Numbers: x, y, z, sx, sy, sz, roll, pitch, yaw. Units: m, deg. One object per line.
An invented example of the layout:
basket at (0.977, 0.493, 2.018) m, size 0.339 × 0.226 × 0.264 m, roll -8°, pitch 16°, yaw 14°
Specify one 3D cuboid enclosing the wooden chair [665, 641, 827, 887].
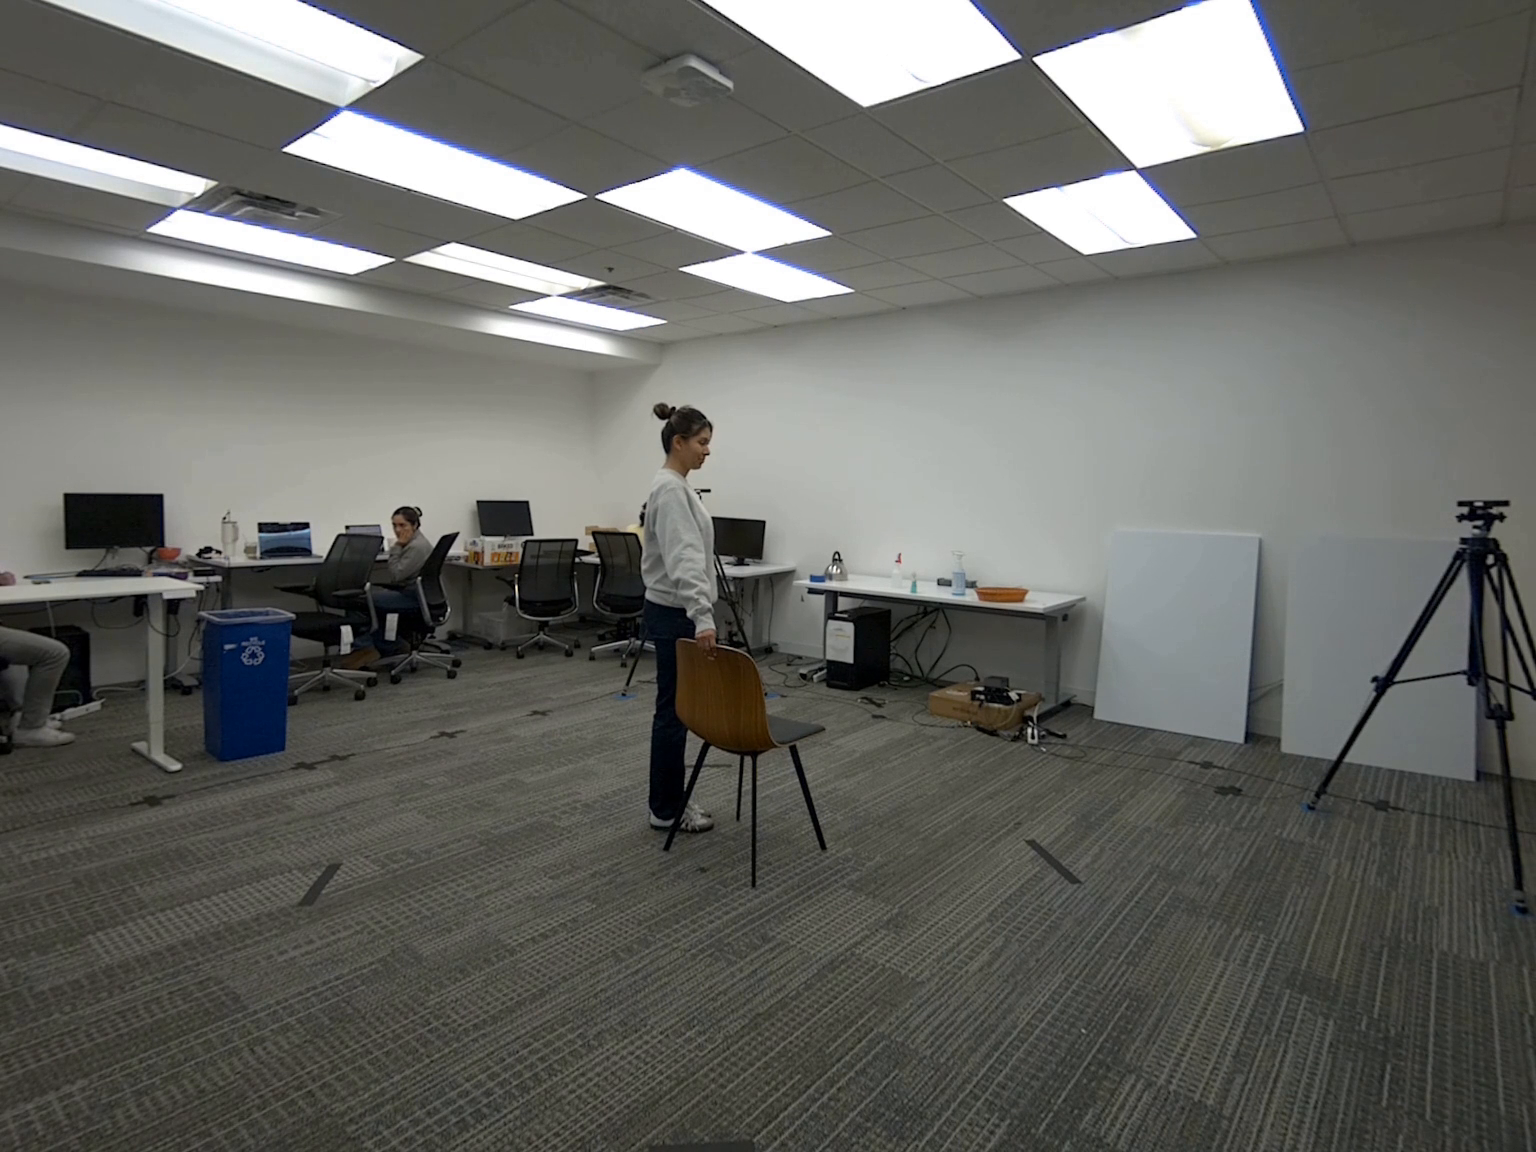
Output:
wooden chair at (-0.080, 0.635, 3.267) m, size 0.494 × 0.872 × 0.509 m, roll 3°, pitch 8°, yaw 39°
